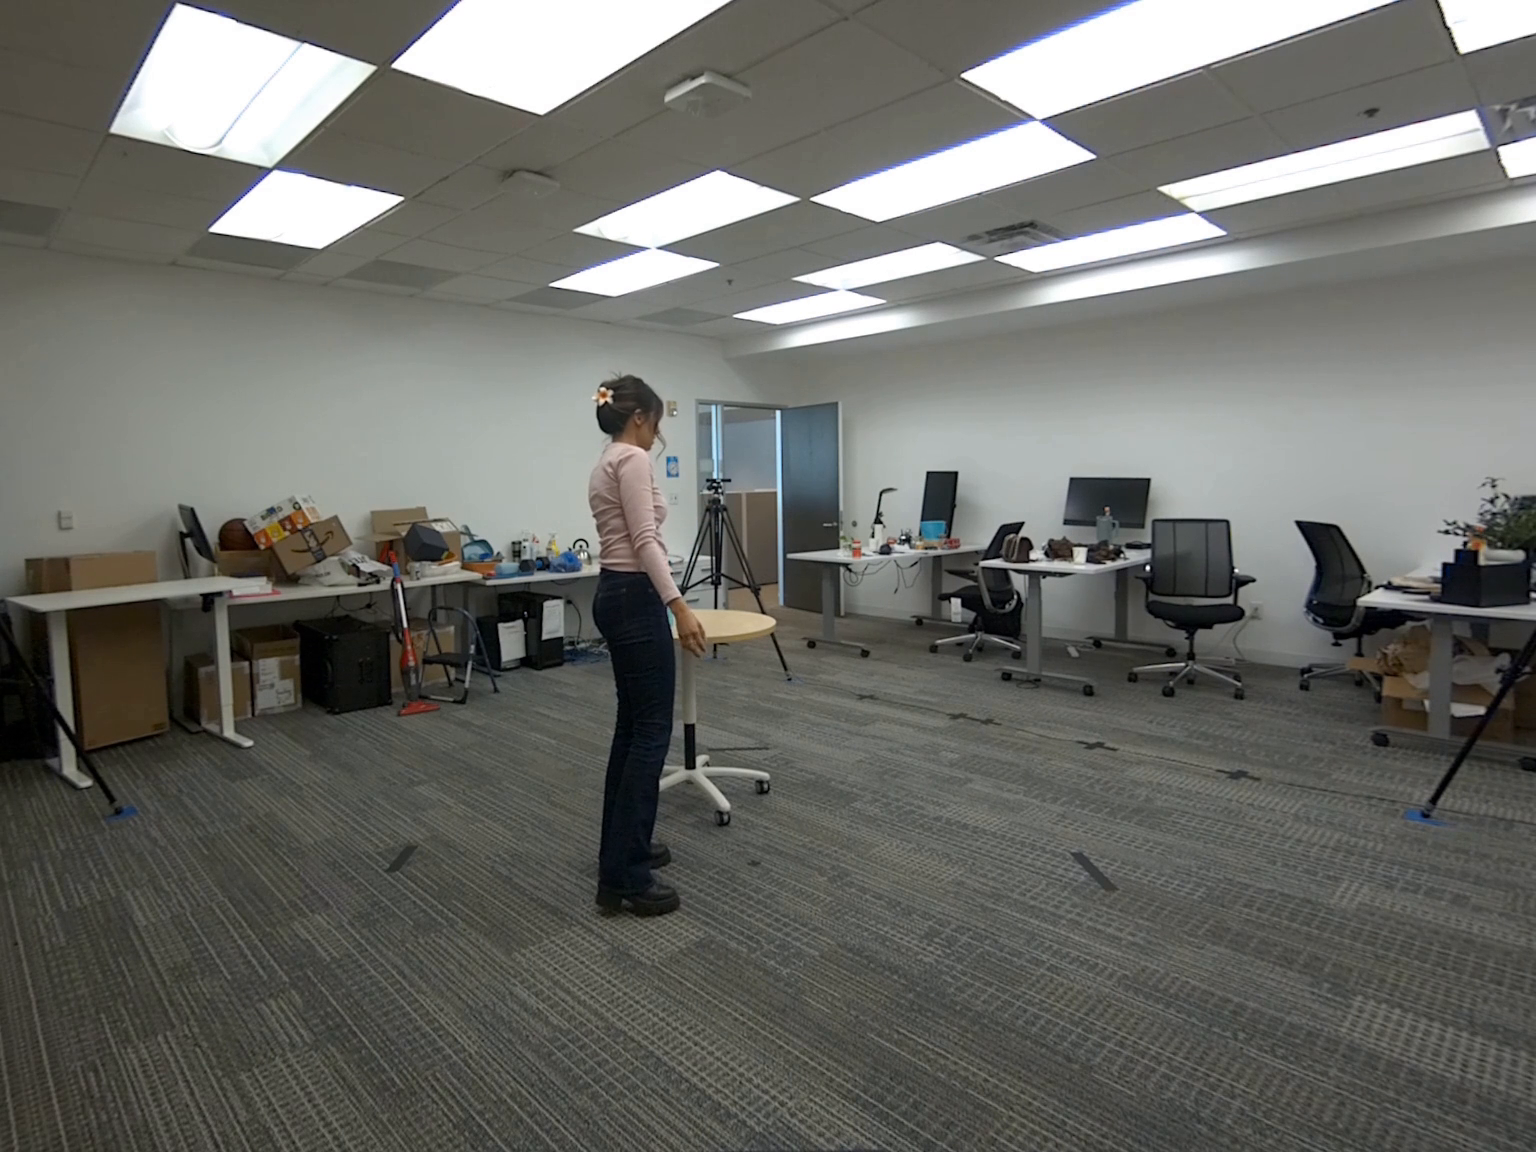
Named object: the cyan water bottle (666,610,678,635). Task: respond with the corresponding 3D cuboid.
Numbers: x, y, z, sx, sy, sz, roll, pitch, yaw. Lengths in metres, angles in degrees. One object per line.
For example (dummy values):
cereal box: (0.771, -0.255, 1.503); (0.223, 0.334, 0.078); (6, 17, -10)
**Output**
cyan water bottle: (-0.433, 0.065, 3.626); (0.092, 0.282, 0.093); (2, 3, -2)
